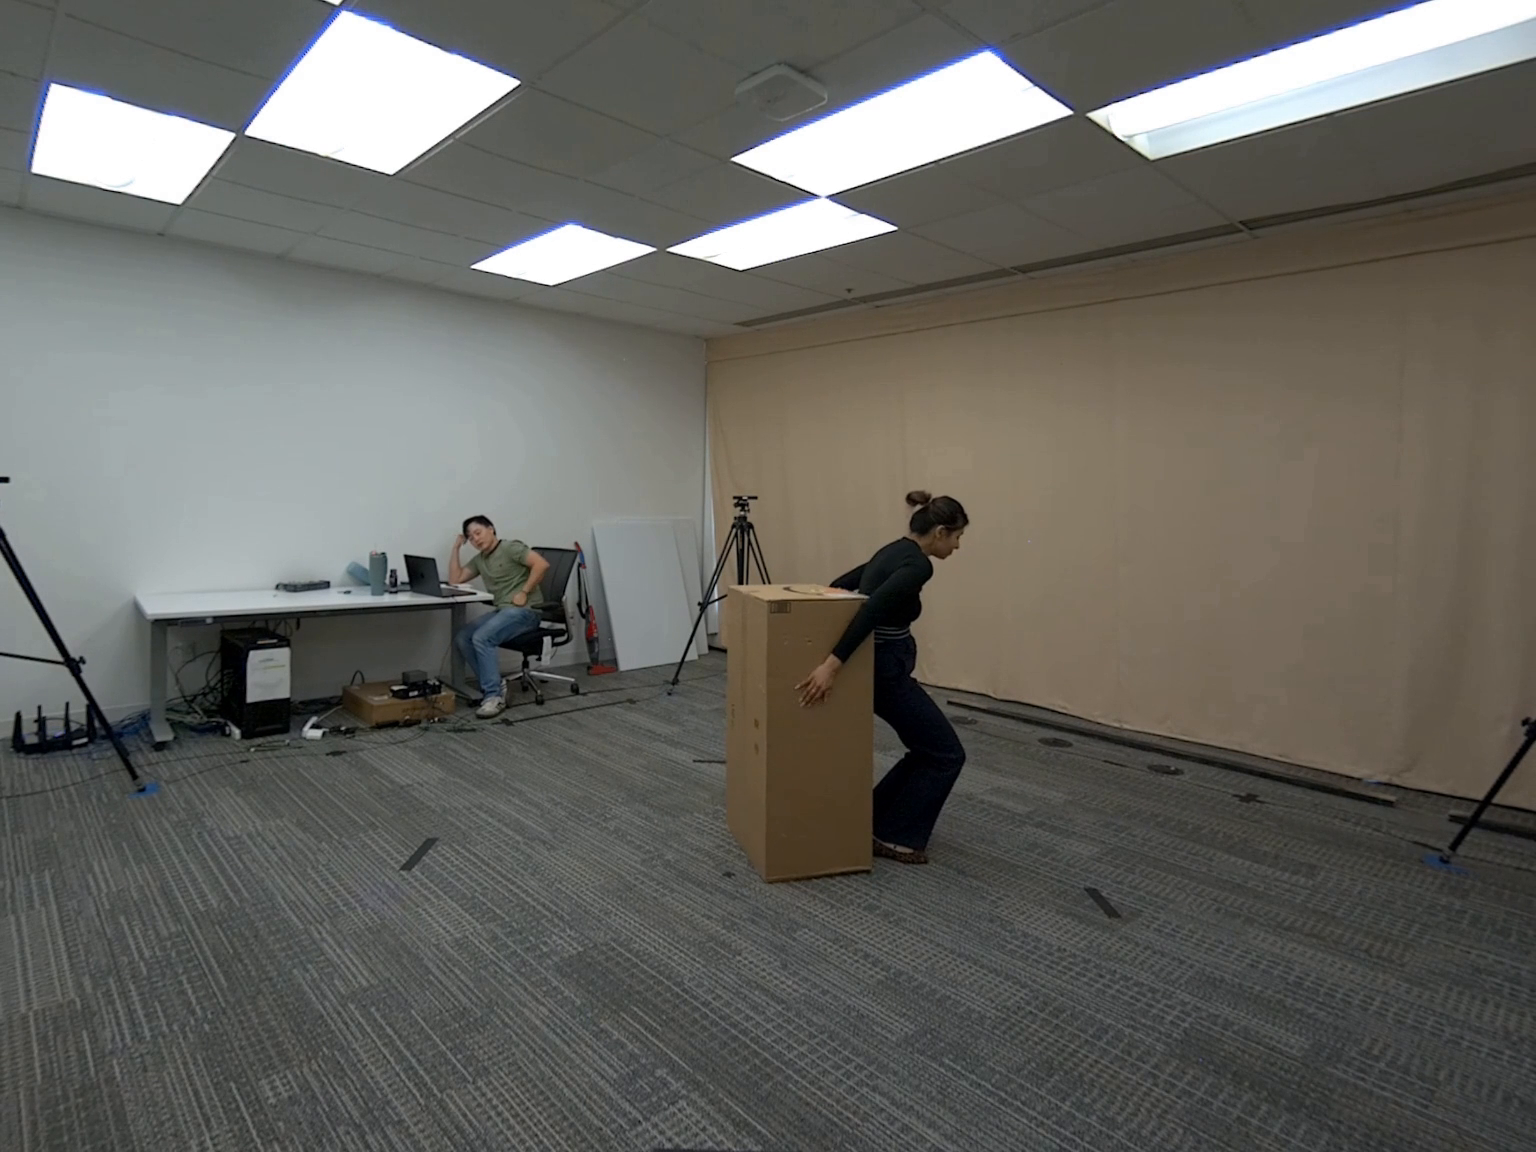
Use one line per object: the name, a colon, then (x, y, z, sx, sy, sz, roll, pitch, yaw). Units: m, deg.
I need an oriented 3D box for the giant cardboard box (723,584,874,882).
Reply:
giant cardboard box: (0.100, 0.574, 3.340, 0.421, 1.024, 0.586, 0, 3, -17)
